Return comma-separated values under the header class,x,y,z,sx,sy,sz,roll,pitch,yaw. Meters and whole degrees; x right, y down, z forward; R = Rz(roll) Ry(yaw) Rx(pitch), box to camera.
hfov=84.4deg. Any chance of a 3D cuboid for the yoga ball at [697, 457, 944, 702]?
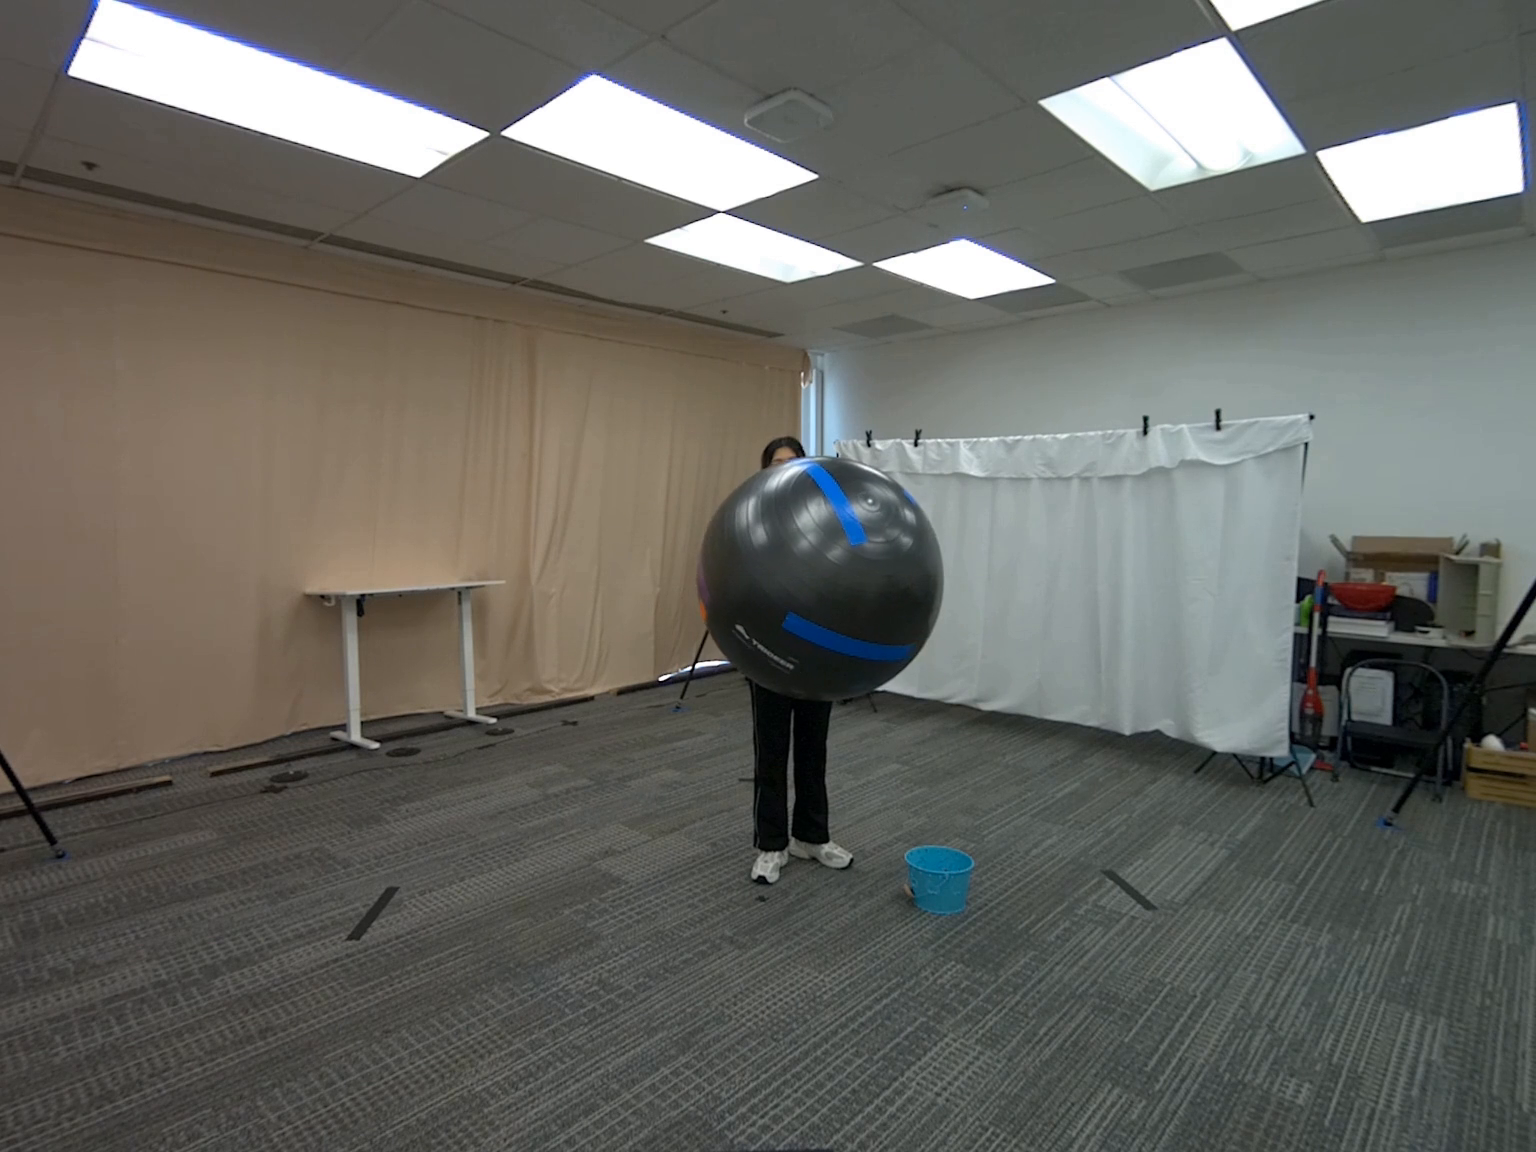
class,x,y,z,sx,sy,sz,roll,pitch,yaw
yoga ball,0.159,0.011,2.609,0.757,0.756,0.760,0,4,-2
